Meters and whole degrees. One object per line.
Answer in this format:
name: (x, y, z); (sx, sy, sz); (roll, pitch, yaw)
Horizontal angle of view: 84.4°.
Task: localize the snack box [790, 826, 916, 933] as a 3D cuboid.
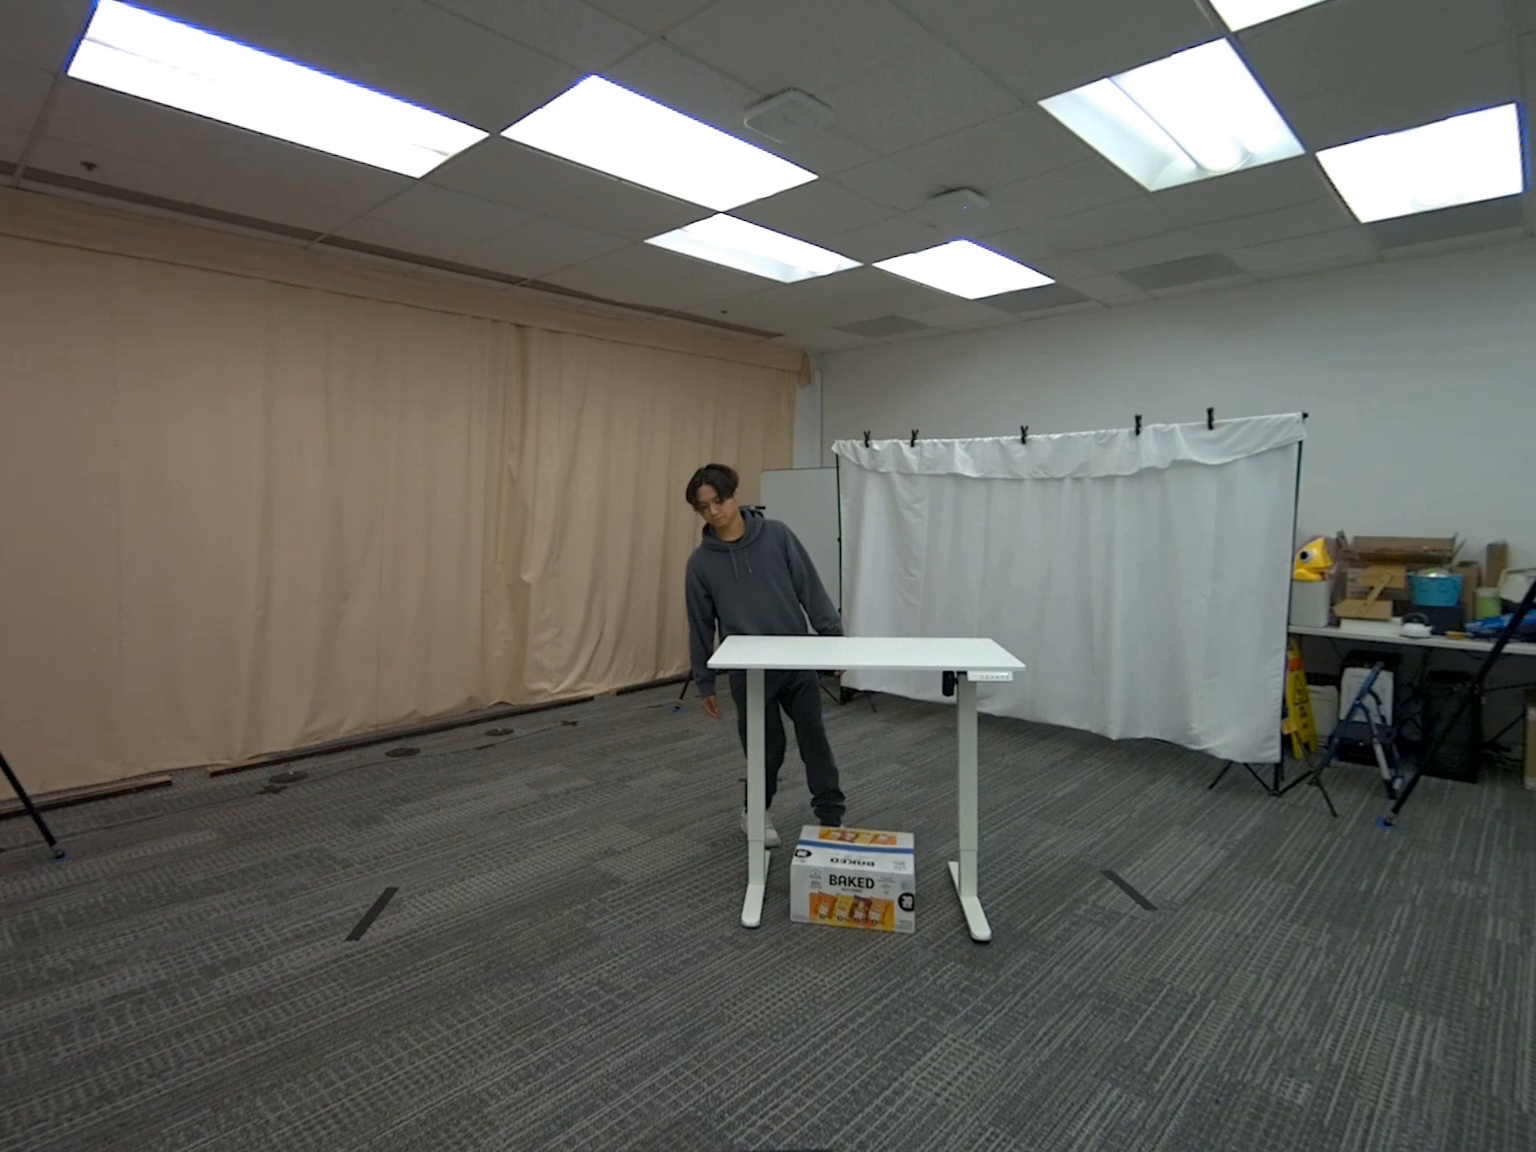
snack box: (0.307, 1.045, 2.928); (0.410, 0.205, 0.337); (1, 4, 11)
